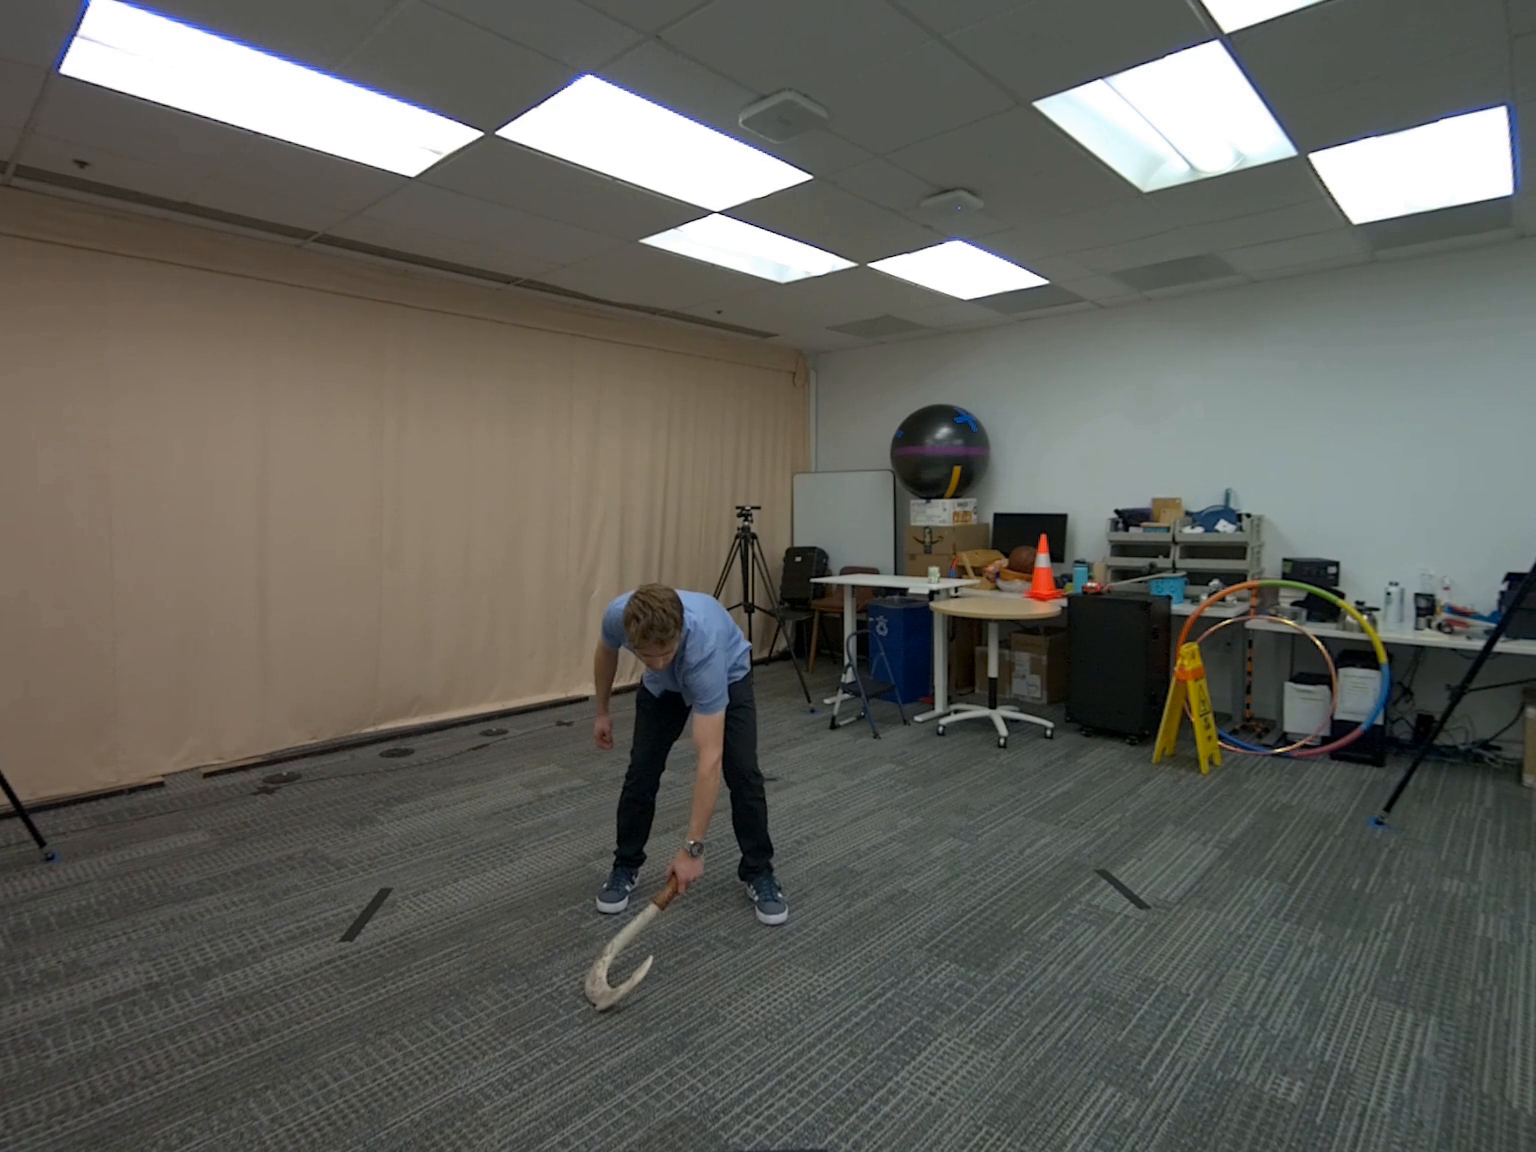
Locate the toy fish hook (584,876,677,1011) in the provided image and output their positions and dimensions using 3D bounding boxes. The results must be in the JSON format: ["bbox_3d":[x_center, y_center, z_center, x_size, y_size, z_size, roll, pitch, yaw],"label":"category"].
[{"bbox_3d":[-0.314,1.023,2.442,0.504,0.047,0.231,-49,25,-22],"label":"toy fish hook"}]
